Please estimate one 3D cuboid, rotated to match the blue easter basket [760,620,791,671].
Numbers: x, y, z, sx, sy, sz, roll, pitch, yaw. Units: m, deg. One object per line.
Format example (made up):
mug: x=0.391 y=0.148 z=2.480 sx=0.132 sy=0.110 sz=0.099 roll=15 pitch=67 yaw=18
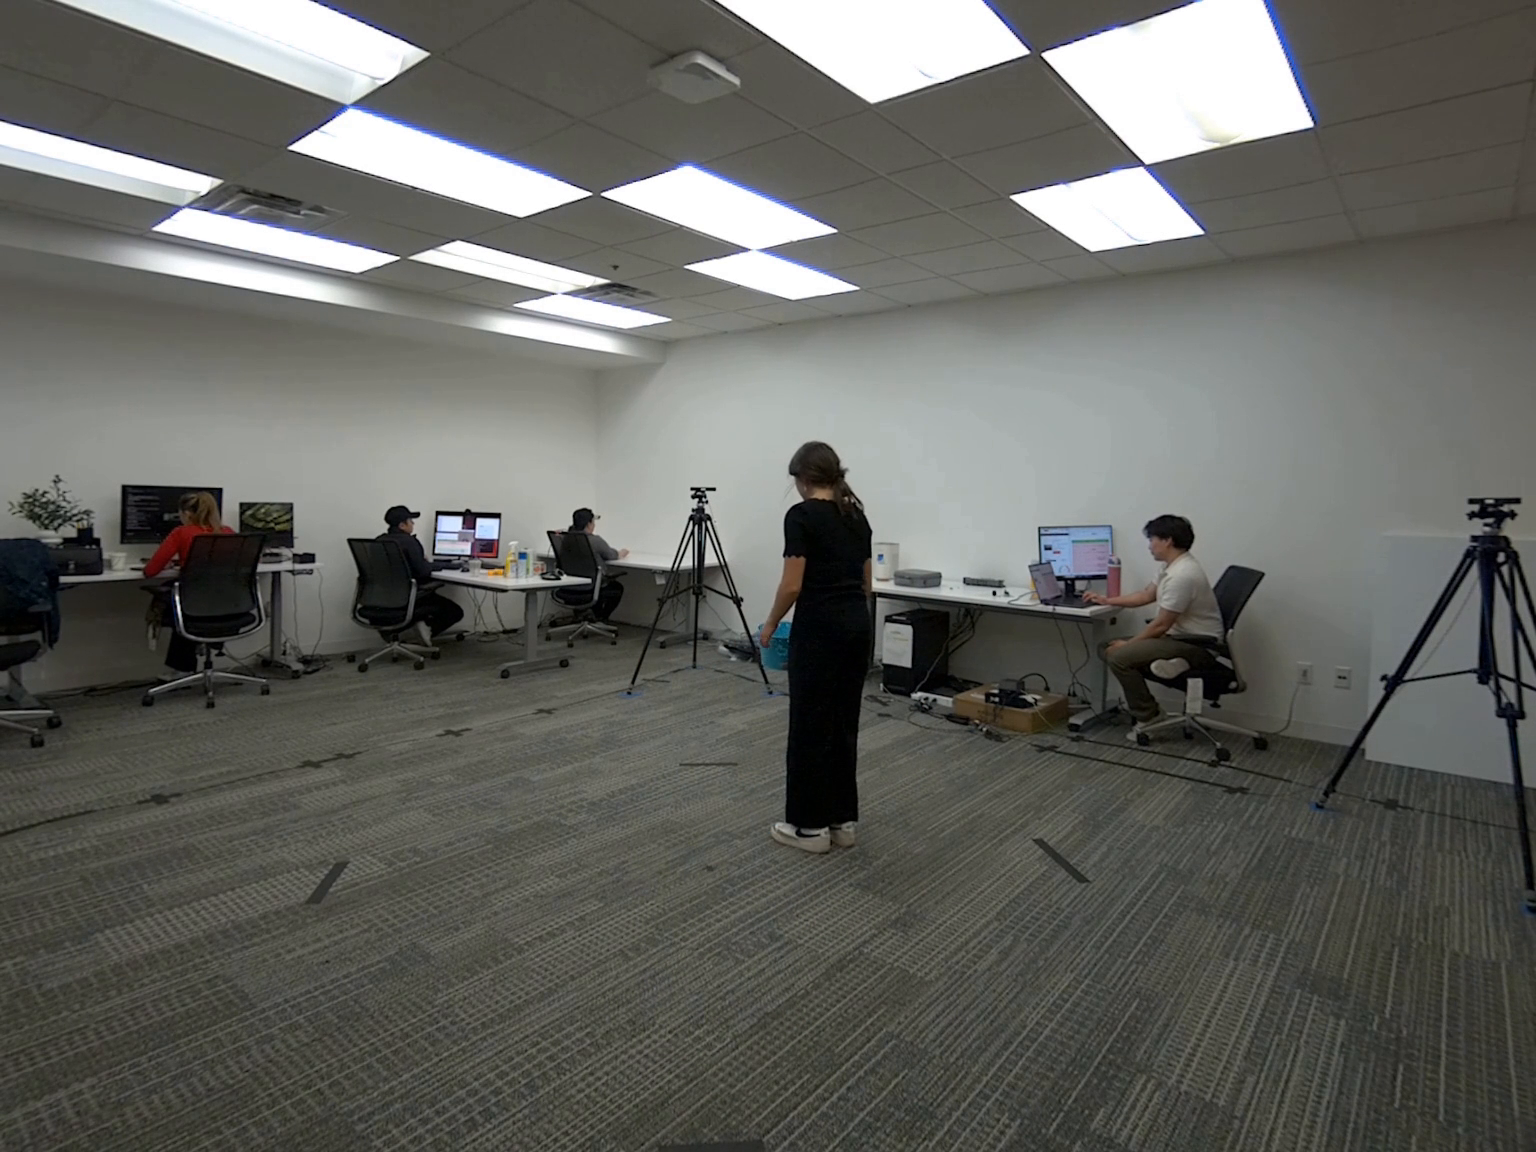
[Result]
blue easter basket: x=0.056 y=0.299 z=3.593 sx=0.243 sy=0.154 sz=0.246 roll=2 pitch=11 yaw=-2
